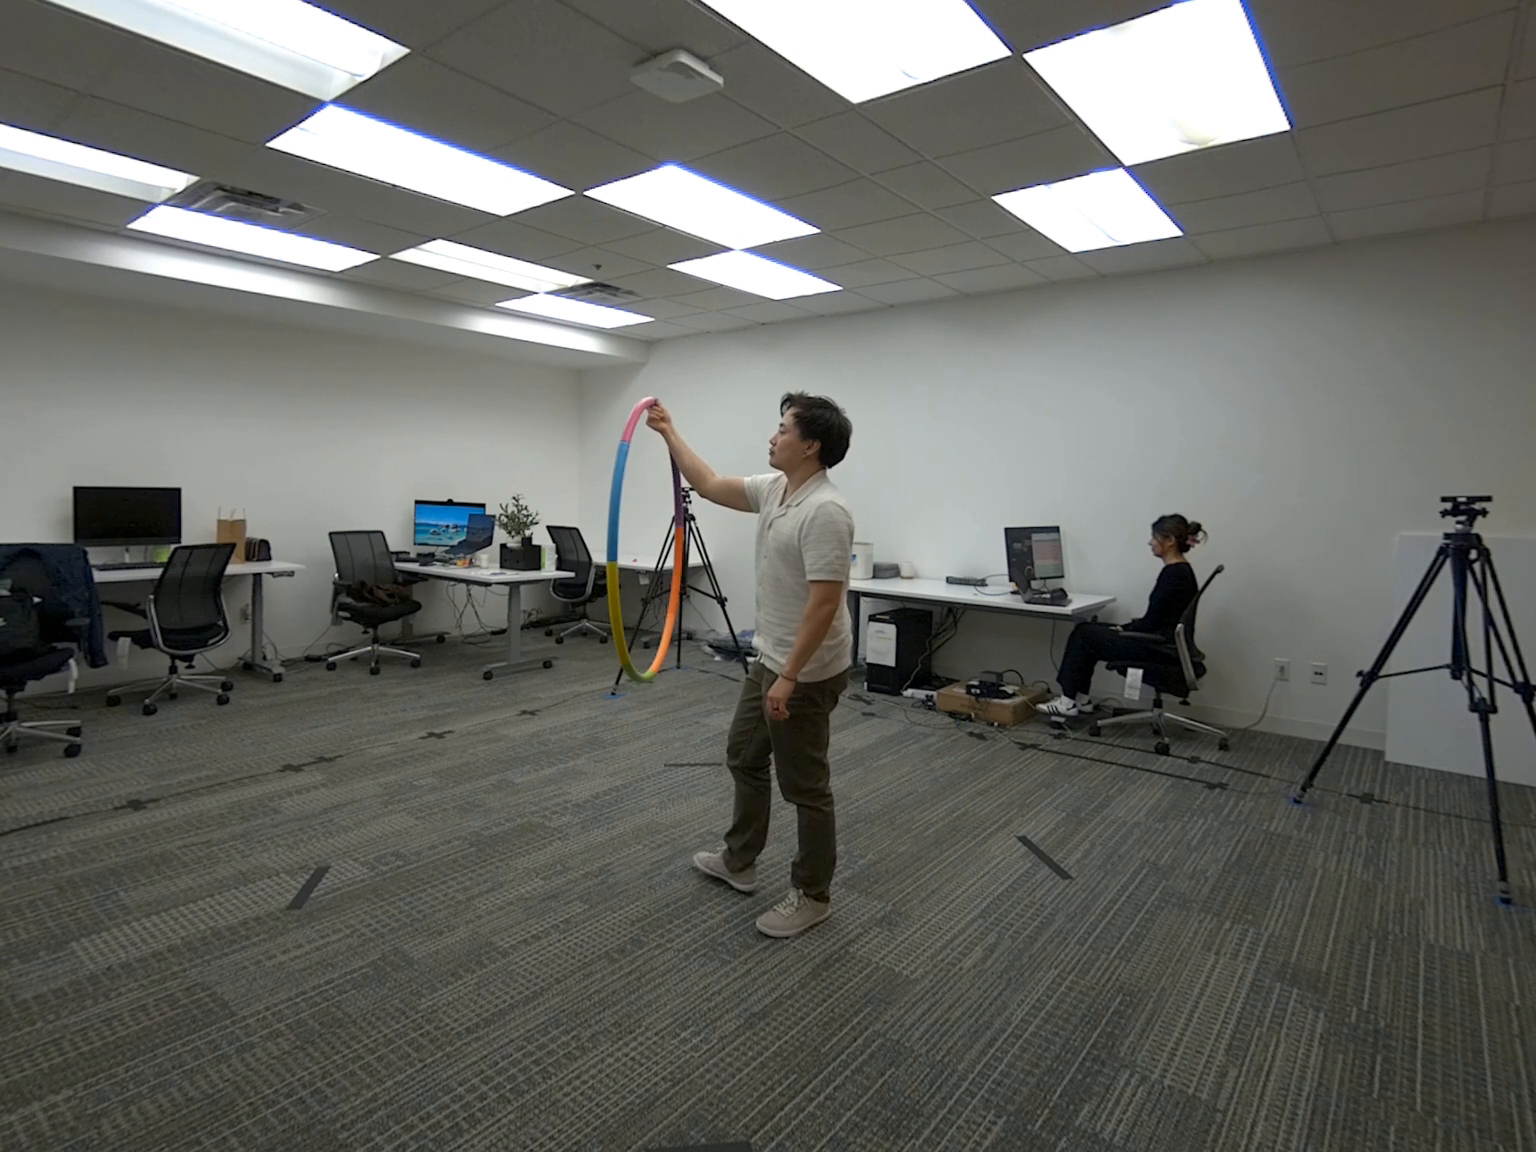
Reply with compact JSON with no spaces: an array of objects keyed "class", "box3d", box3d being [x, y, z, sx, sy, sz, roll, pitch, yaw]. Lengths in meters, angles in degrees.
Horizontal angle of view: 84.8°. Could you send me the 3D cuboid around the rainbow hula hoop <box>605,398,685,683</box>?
[{"class":"rainbow hula hoop","box3d":[-0.424,-0.123,2.983,0.036,0.976,0.973,2,4,6]}]
